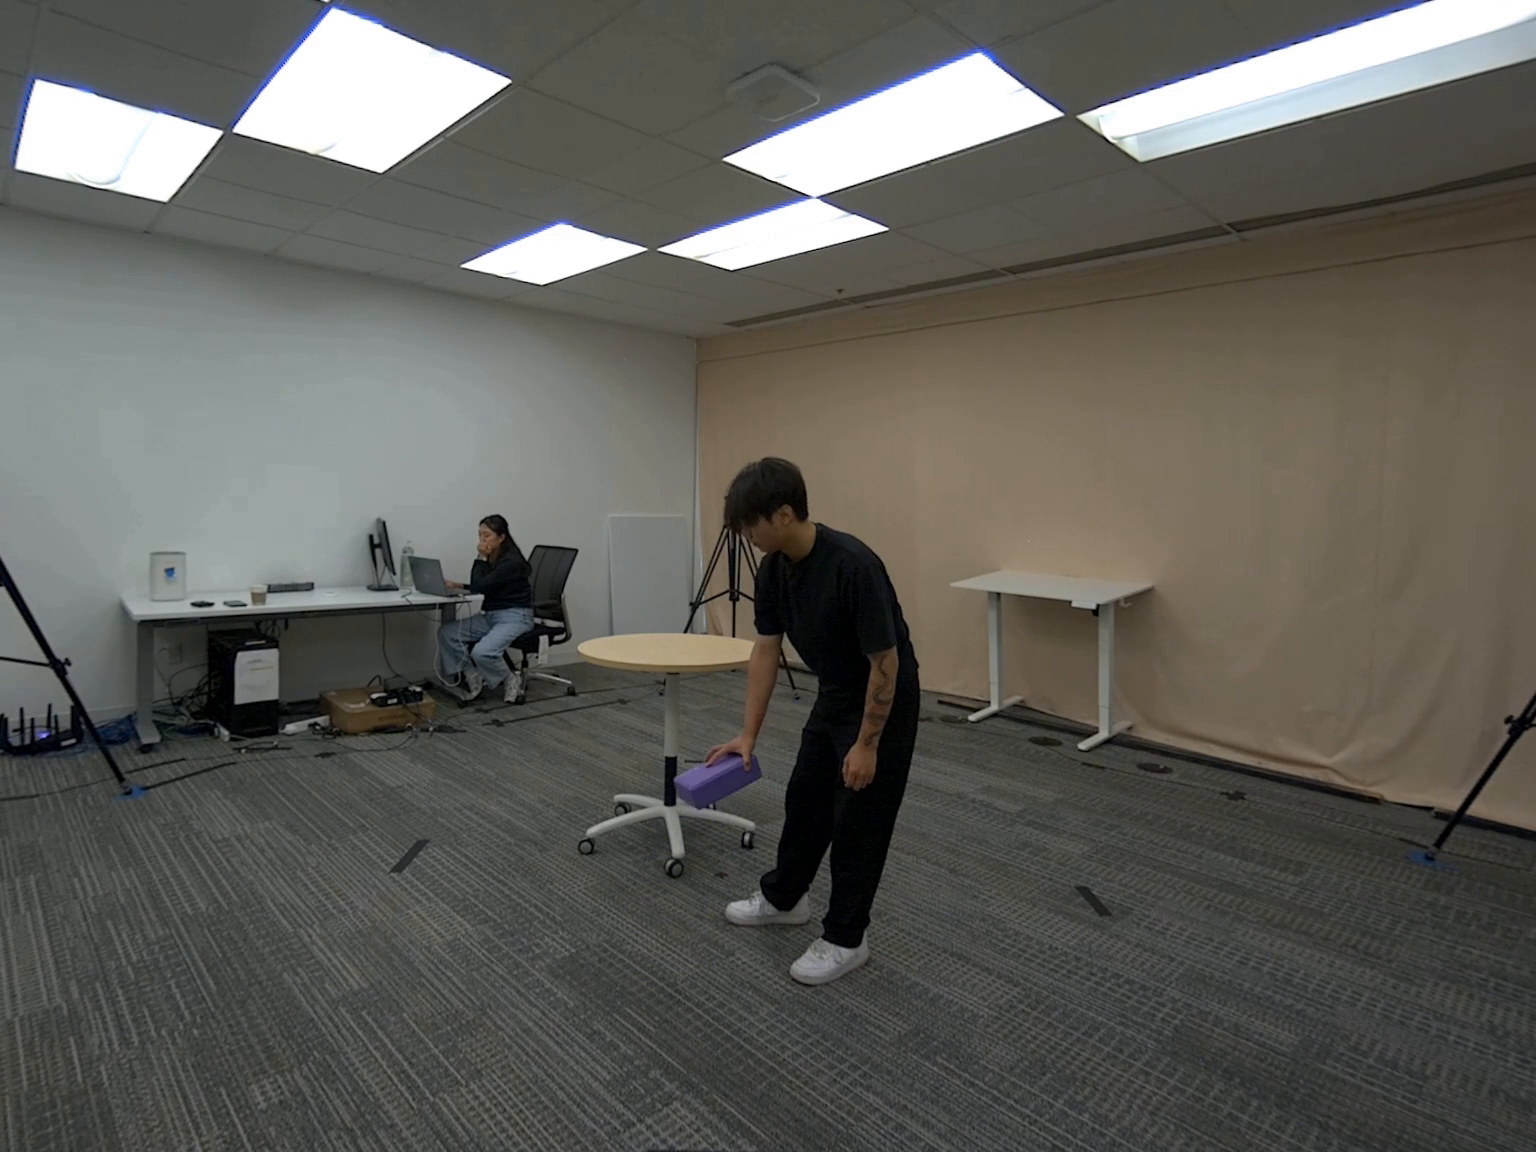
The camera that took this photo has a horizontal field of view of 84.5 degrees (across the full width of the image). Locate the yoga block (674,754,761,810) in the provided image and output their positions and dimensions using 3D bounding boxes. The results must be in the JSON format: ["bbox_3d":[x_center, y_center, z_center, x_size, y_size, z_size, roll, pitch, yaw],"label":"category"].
[{"bbox_3d":[-0.162,0.609,2.536,0.226,0.076,0.151,-20,8,-26],"label":"yoga block"}]
